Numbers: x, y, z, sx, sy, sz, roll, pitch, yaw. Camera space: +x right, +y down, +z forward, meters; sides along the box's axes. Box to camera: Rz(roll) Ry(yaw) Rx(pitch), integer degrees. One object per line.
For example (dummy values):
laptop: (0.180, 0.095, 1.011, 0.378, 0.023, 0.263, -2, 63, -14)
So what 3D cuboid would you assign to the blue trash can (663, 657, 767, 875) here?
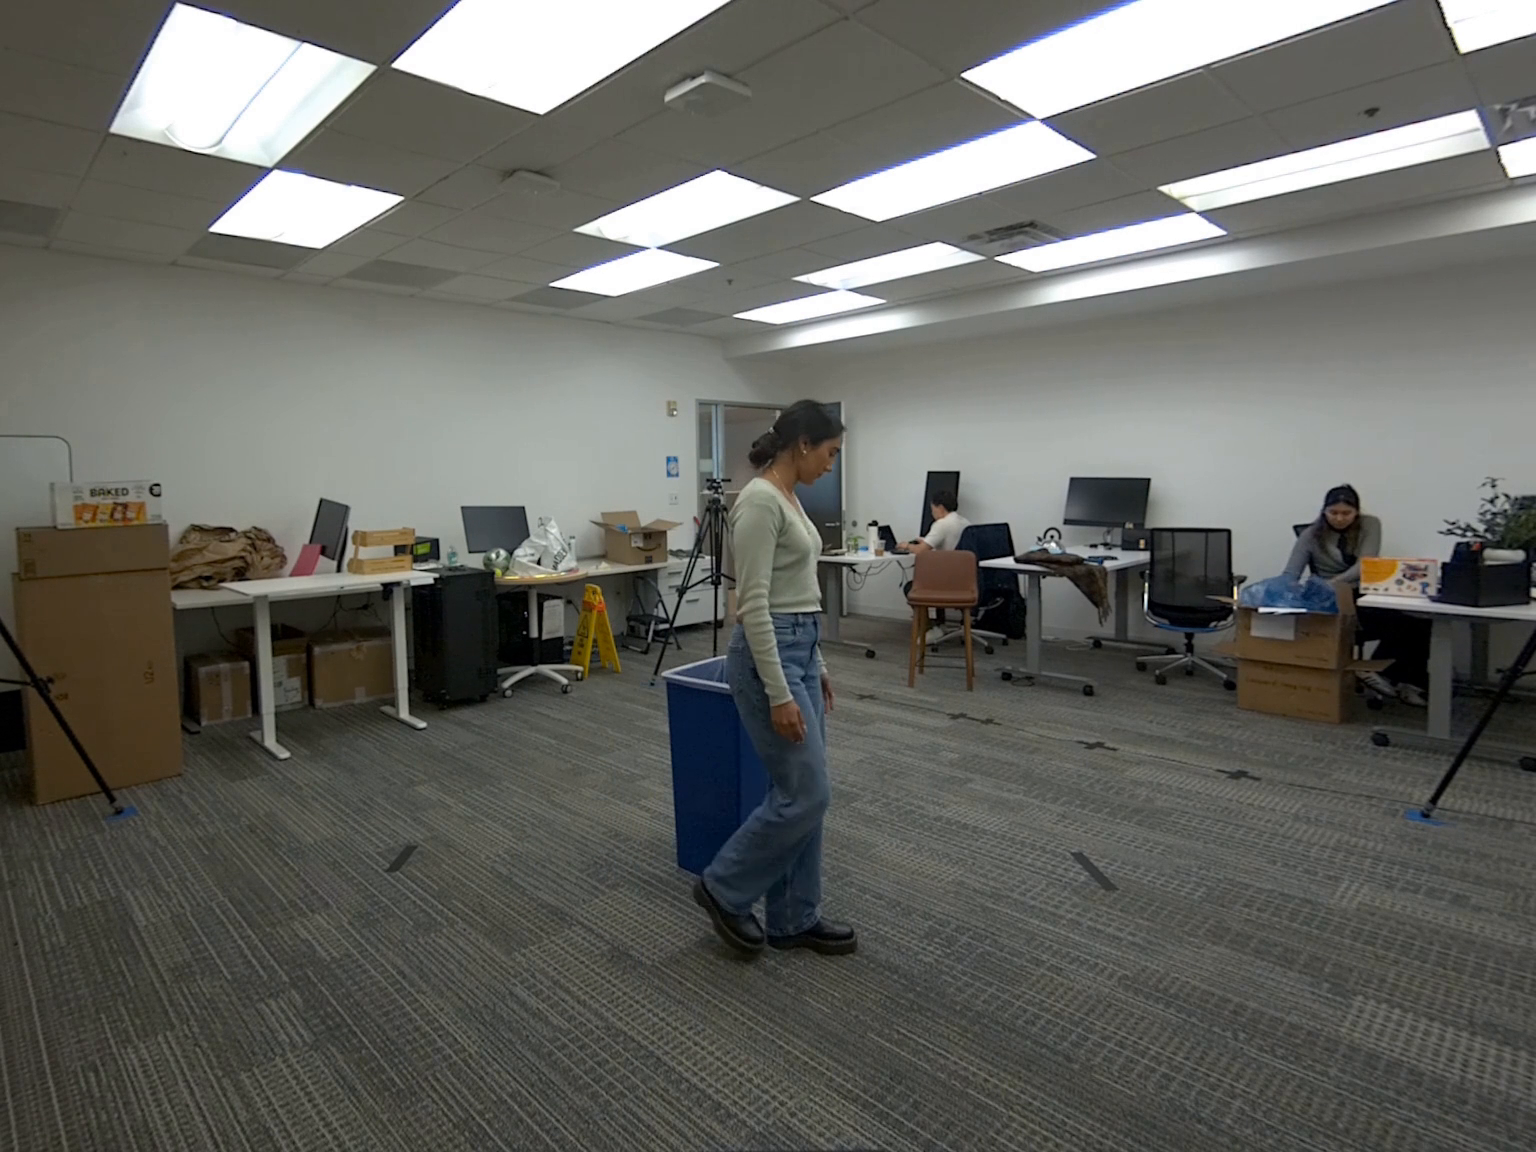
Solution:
blue trash can: (-0.127, 0.689, 3.072, 0.389, 0.711, 0.364, 3, 5, 39)
